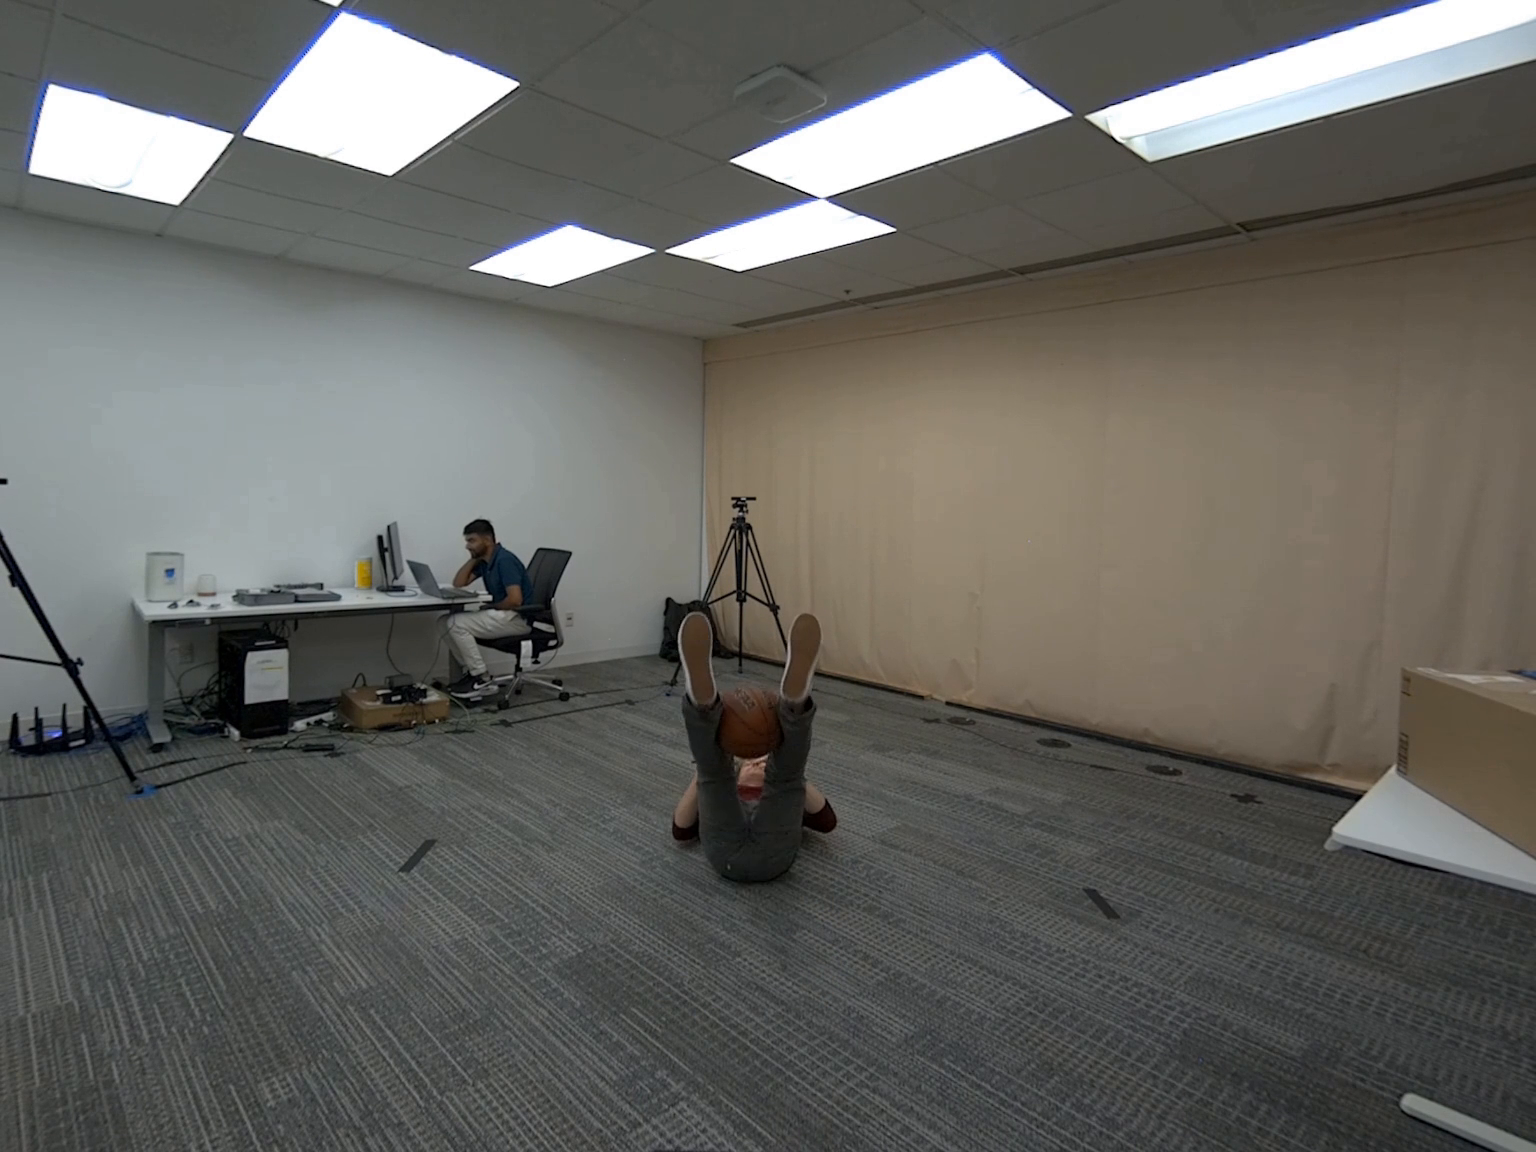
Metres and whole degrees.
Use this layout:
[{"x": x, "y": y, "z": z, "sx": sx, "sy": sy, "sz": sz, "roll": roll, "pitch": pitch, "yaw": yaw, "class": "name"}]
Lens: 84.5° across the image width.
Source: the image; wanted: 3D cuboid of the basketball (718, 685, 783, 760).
[{"x": -0.069, "y": 0.476, "z": 2.736, "sx": 0.236, "sy": 0.235, "sz": 0.237, "roll": 1, "pitch": 4, "yaw": -1, "class": "basketball"}]
